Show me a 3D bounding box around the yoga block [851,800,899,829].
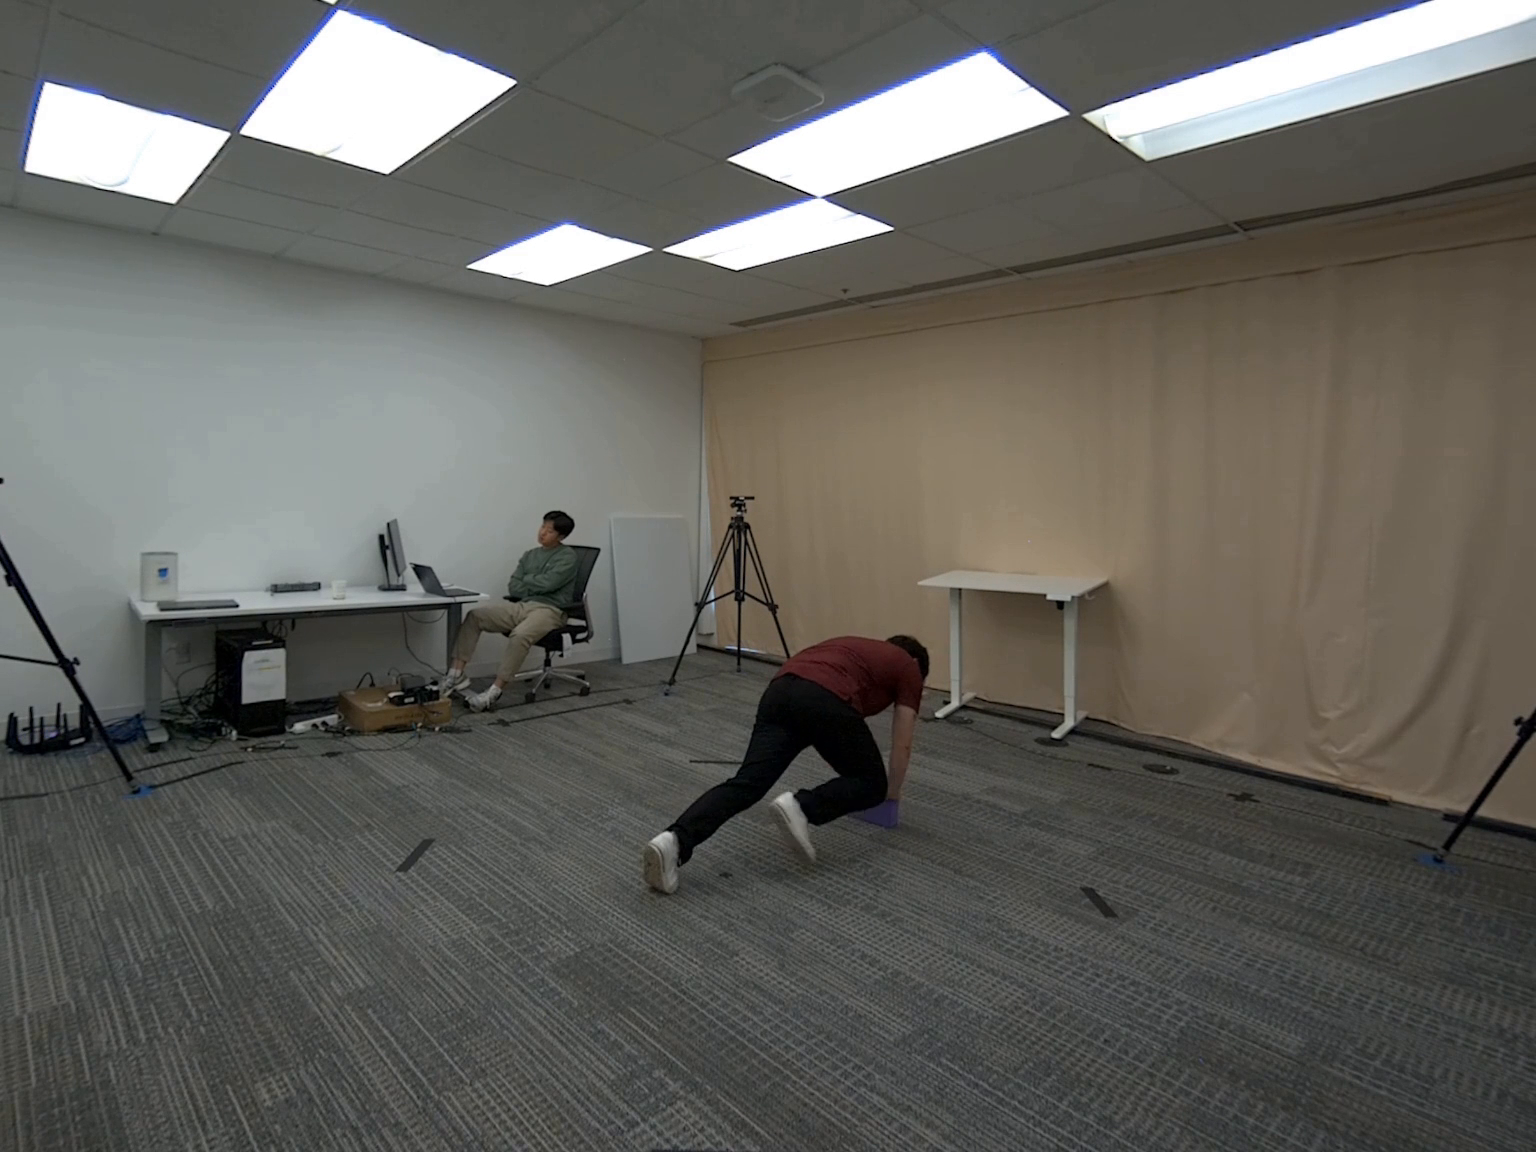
[{"bbox_3d":[0.444,0.998,3.689,0.235,0.149,0.075,5,4,39],"label":"yoga block"}]
